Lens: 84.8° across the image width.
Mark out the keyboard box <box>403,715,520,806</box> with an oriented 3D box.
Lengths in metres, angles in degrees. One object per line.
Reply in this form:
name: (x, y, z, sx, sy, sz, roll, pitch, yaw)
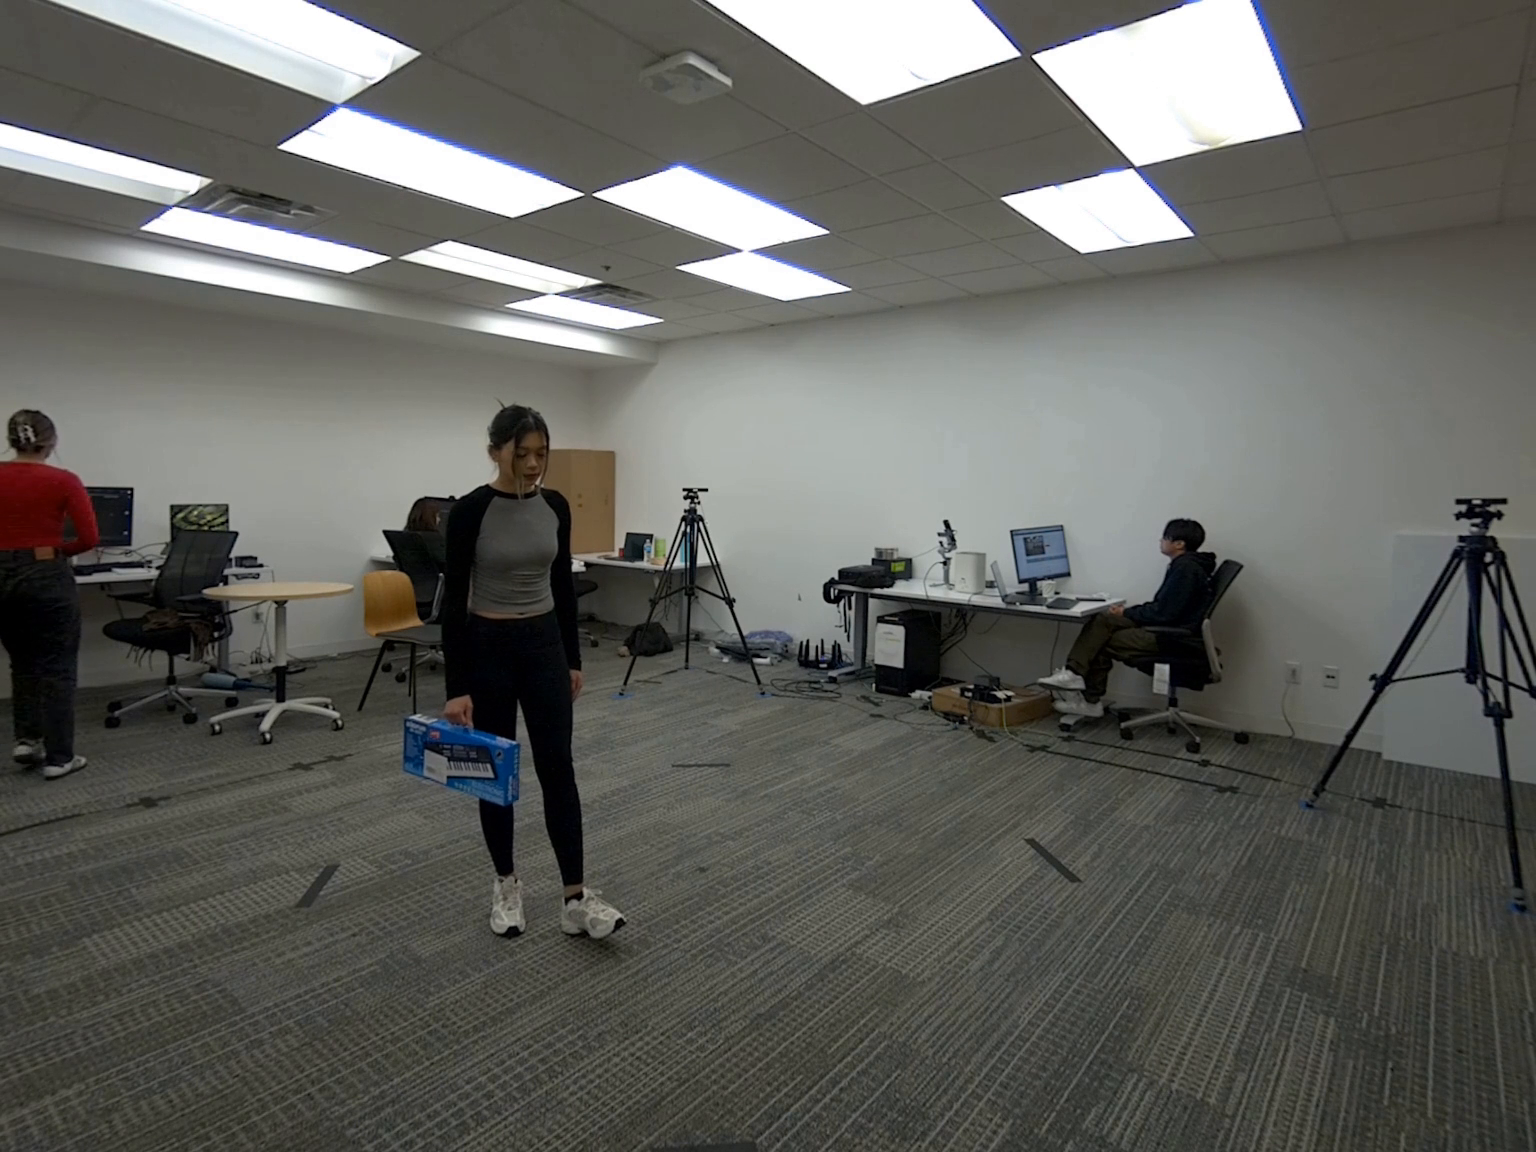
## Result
keyboard box: (-0.928, 0.540, 2.543, 0.451, 0.175, 0.057, 8, 6, 31)
